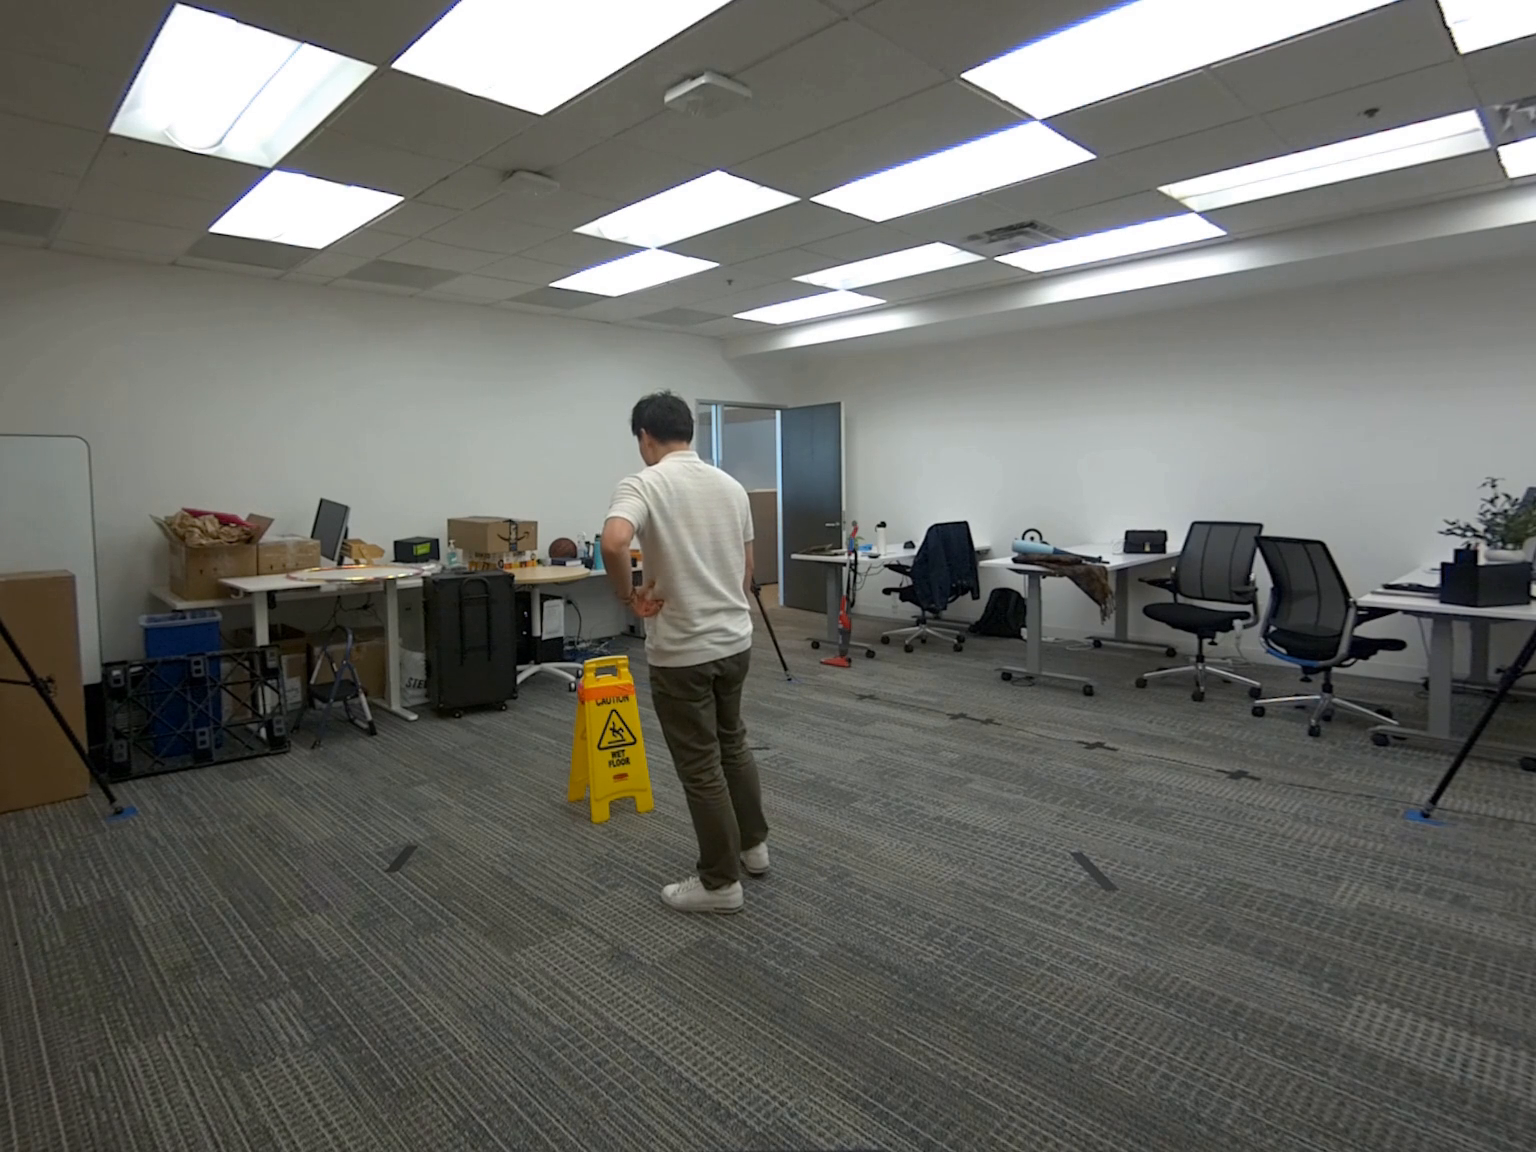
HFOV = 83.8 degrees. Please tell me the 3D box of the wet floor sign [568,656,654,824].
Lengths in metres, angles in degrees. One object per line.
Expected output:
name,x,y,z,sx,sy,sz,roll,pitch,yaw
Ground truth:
wet floor sign,-0.686,0.671,3.676,0.275,0.644,0.298,-3,4,-32
